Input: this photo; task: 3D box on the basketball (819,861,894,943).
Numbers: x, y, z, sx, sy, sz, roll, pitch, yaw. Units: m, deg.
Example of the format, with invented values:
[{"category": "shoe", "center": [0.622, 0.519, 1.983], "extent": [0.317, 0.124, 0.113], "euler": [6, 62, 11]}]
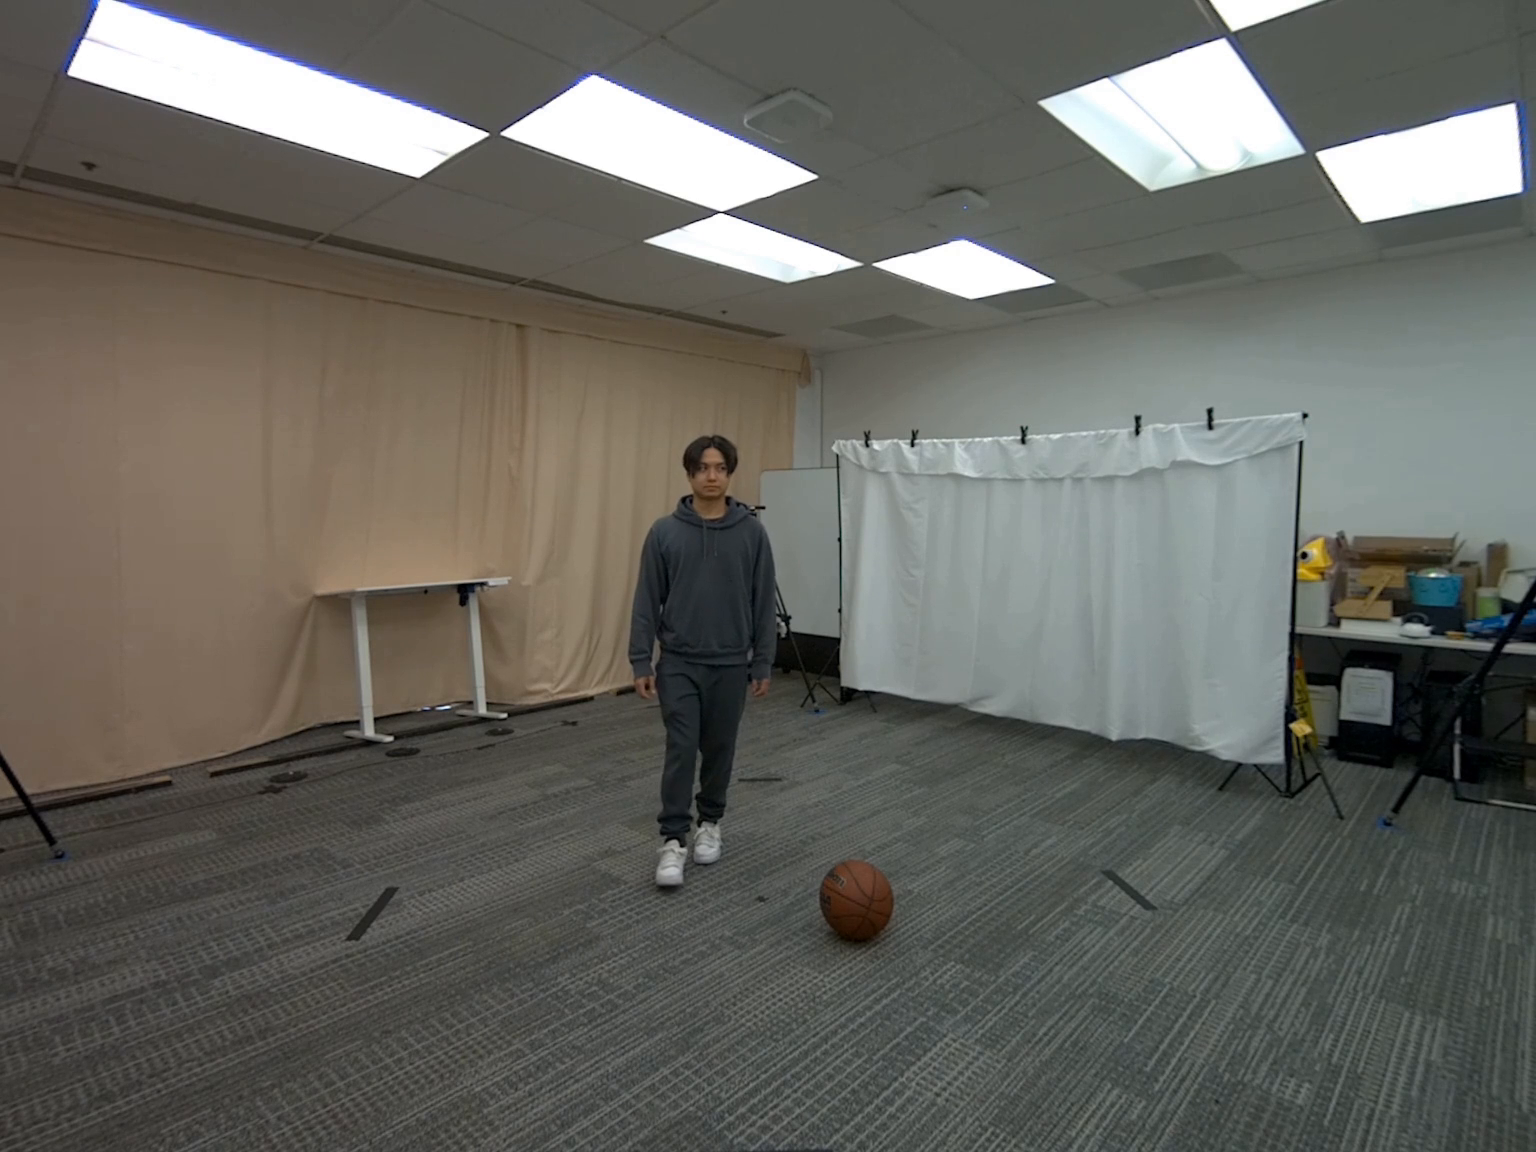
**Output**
[{"category": "basketball", "center": [0.291, 1.042, 2.726], "extent": [0.236, 0.235, 0.237], "euler": [0, 4, -2]}]
